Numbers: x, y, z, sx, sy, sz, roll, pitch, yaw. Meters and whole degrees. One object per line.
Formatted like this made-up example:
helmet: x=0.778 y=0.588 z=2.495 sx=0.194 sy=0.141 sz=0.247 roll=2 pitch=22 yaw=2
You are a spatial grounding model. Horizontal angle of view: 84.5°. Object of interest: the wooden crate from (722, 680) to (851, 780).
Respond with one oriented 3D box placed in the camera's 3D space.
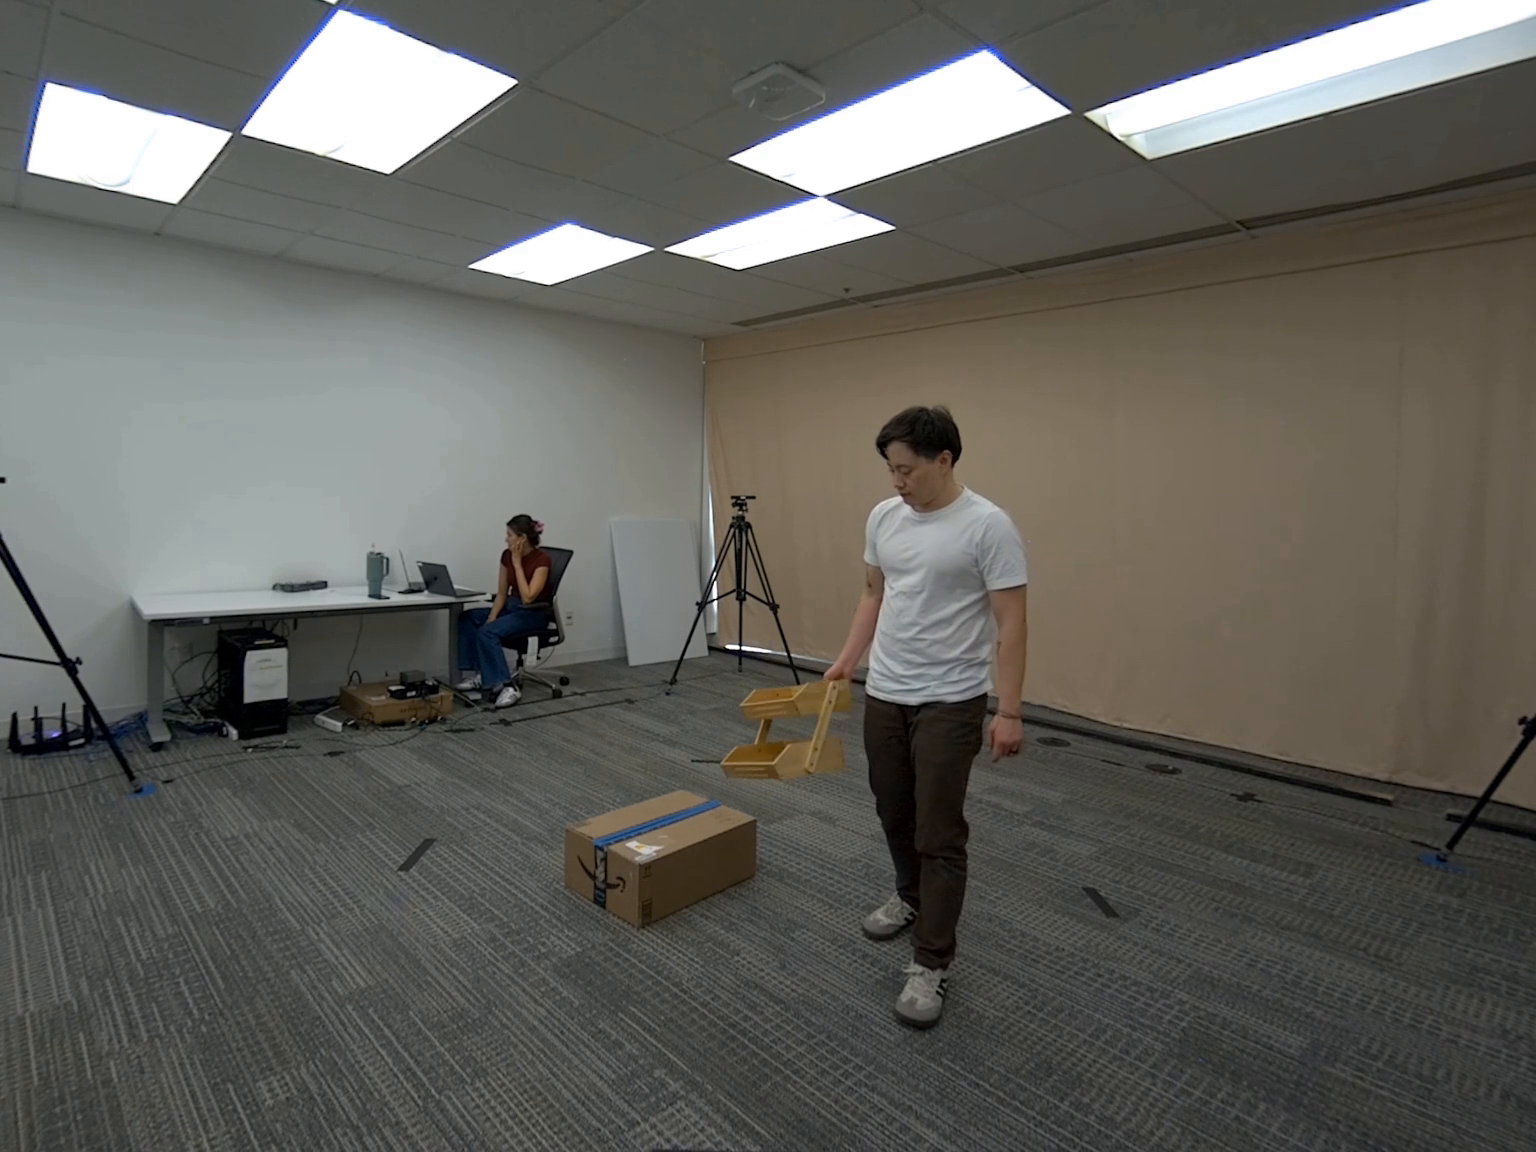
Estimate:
wooden crate: x=0.046 y=0.464 z=2.567 sx=0.295 sy=0.276 sz=0.329 roll=1 pitch=-12 yaw=-33
